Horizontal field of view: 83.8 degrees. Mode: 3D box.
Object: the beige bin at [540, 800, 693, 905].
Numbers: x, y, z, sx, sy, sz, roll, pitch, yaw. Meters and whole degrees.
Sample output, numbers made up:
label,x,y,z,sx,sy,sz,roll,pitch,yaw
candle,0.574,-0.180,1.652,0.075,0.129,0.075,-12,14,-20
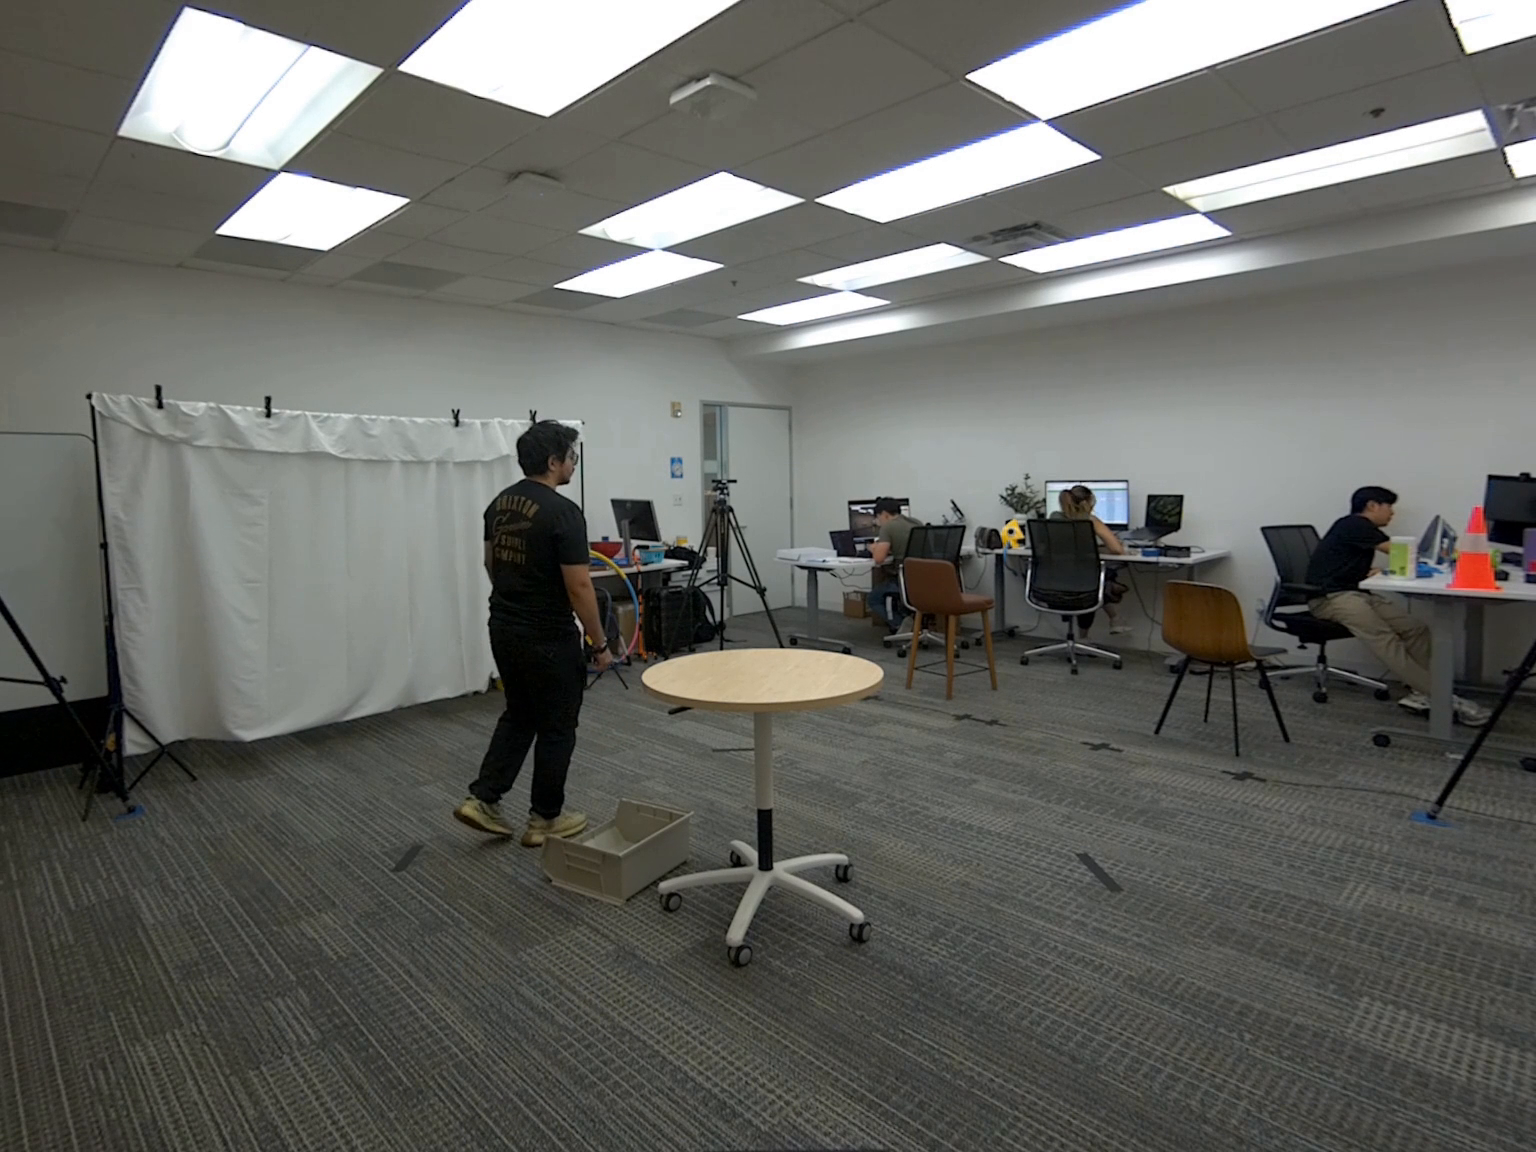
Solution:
label,x,y,z,sx,sy,sz,roll,pitch,yaw
beige bin,-0.535,0.972,3.070,0.388,0.188,0.413,4,7,31
